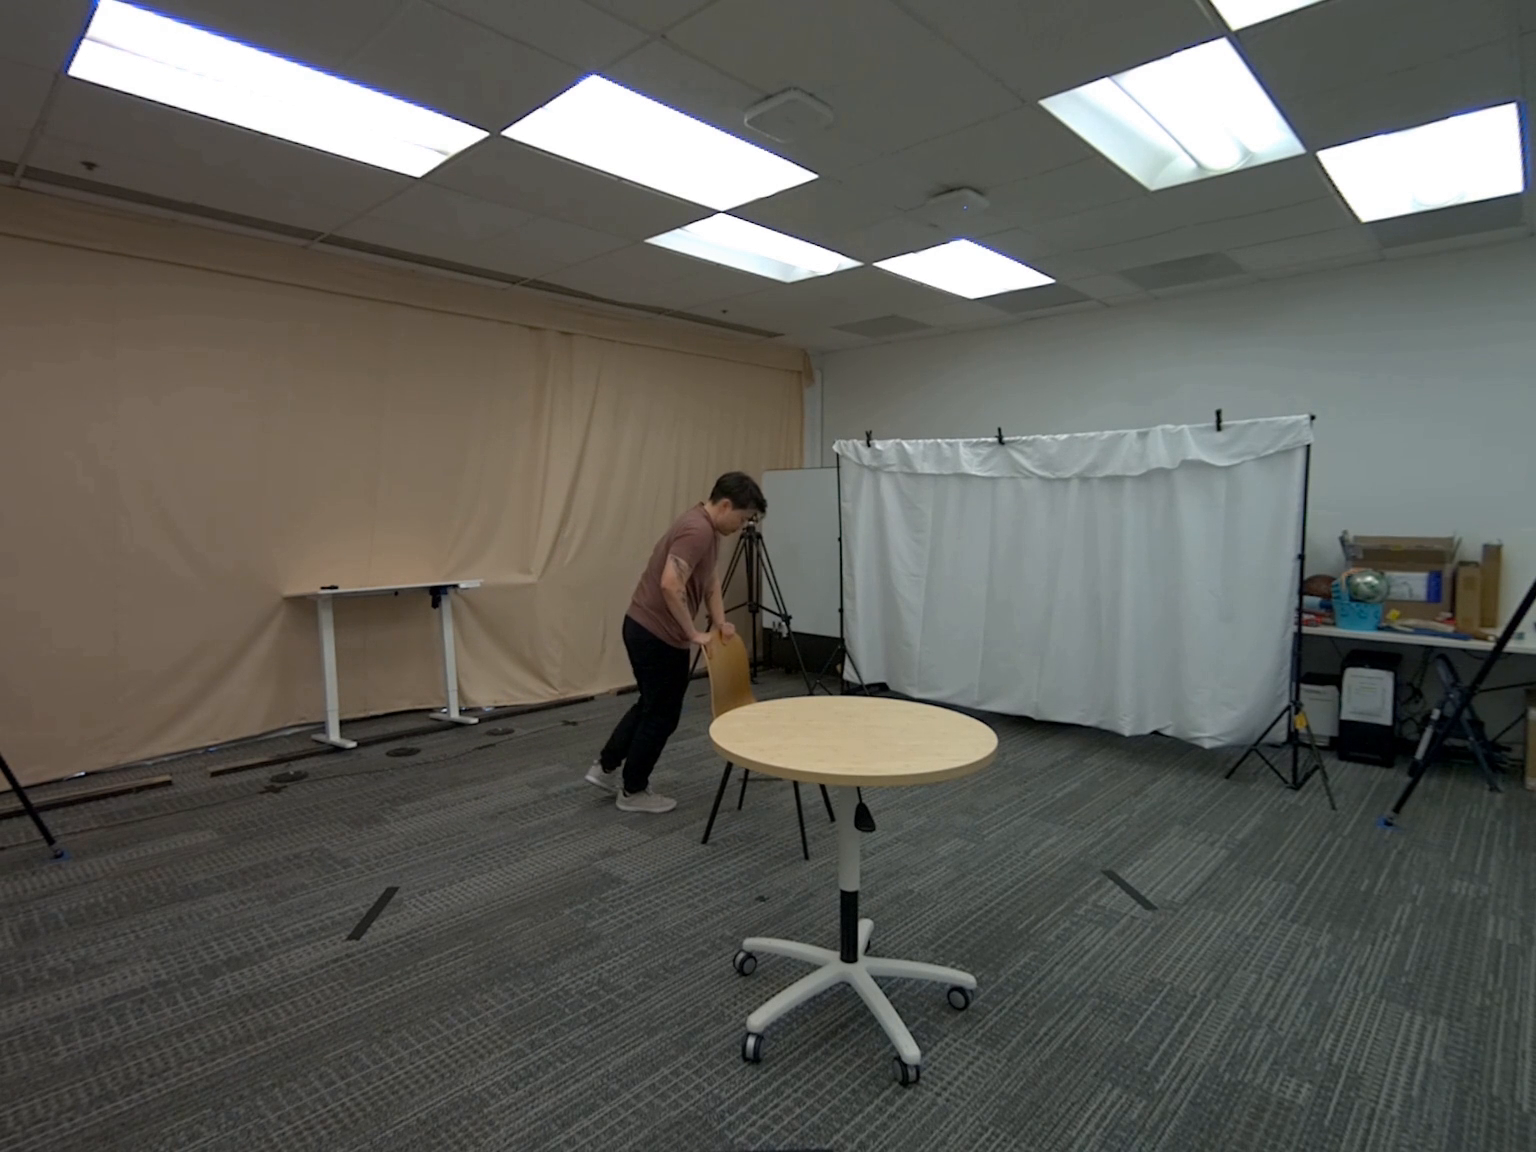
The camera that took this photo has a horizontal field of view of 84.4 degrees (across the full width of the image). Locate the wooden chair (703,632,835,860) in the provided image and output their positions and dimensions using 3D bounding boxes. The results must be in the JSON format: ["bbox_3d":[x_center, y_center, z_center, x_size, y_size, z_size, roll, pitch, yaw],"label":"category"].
[{"bbox_3d":[0.019,0.669,3.554,0.534,0.876,0.469,-4,2,21],"label":"wooden chair"}]
